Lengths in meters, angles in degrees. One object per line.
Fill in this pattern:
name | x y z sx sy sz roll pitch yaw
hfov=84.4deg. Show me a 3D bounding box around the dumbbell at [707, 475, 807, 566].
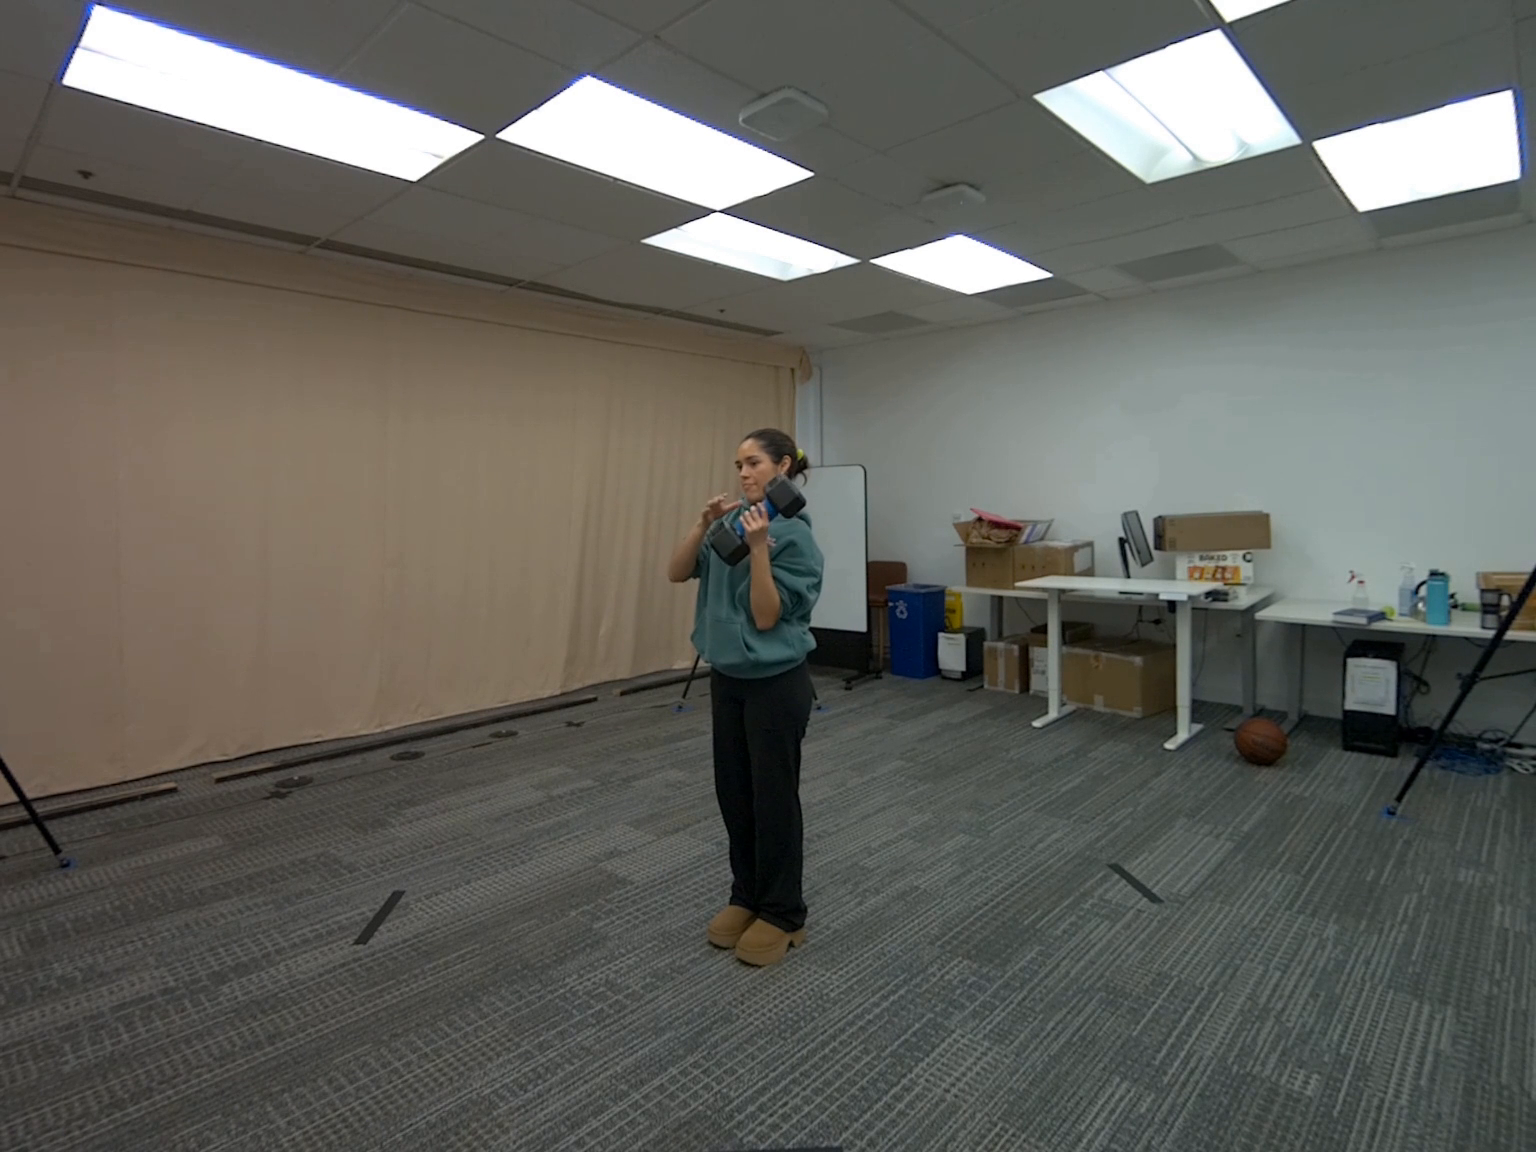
dumbbell | -0.026 -0.157 2.418 0.294 0.112 0.119 -39 -35 7
